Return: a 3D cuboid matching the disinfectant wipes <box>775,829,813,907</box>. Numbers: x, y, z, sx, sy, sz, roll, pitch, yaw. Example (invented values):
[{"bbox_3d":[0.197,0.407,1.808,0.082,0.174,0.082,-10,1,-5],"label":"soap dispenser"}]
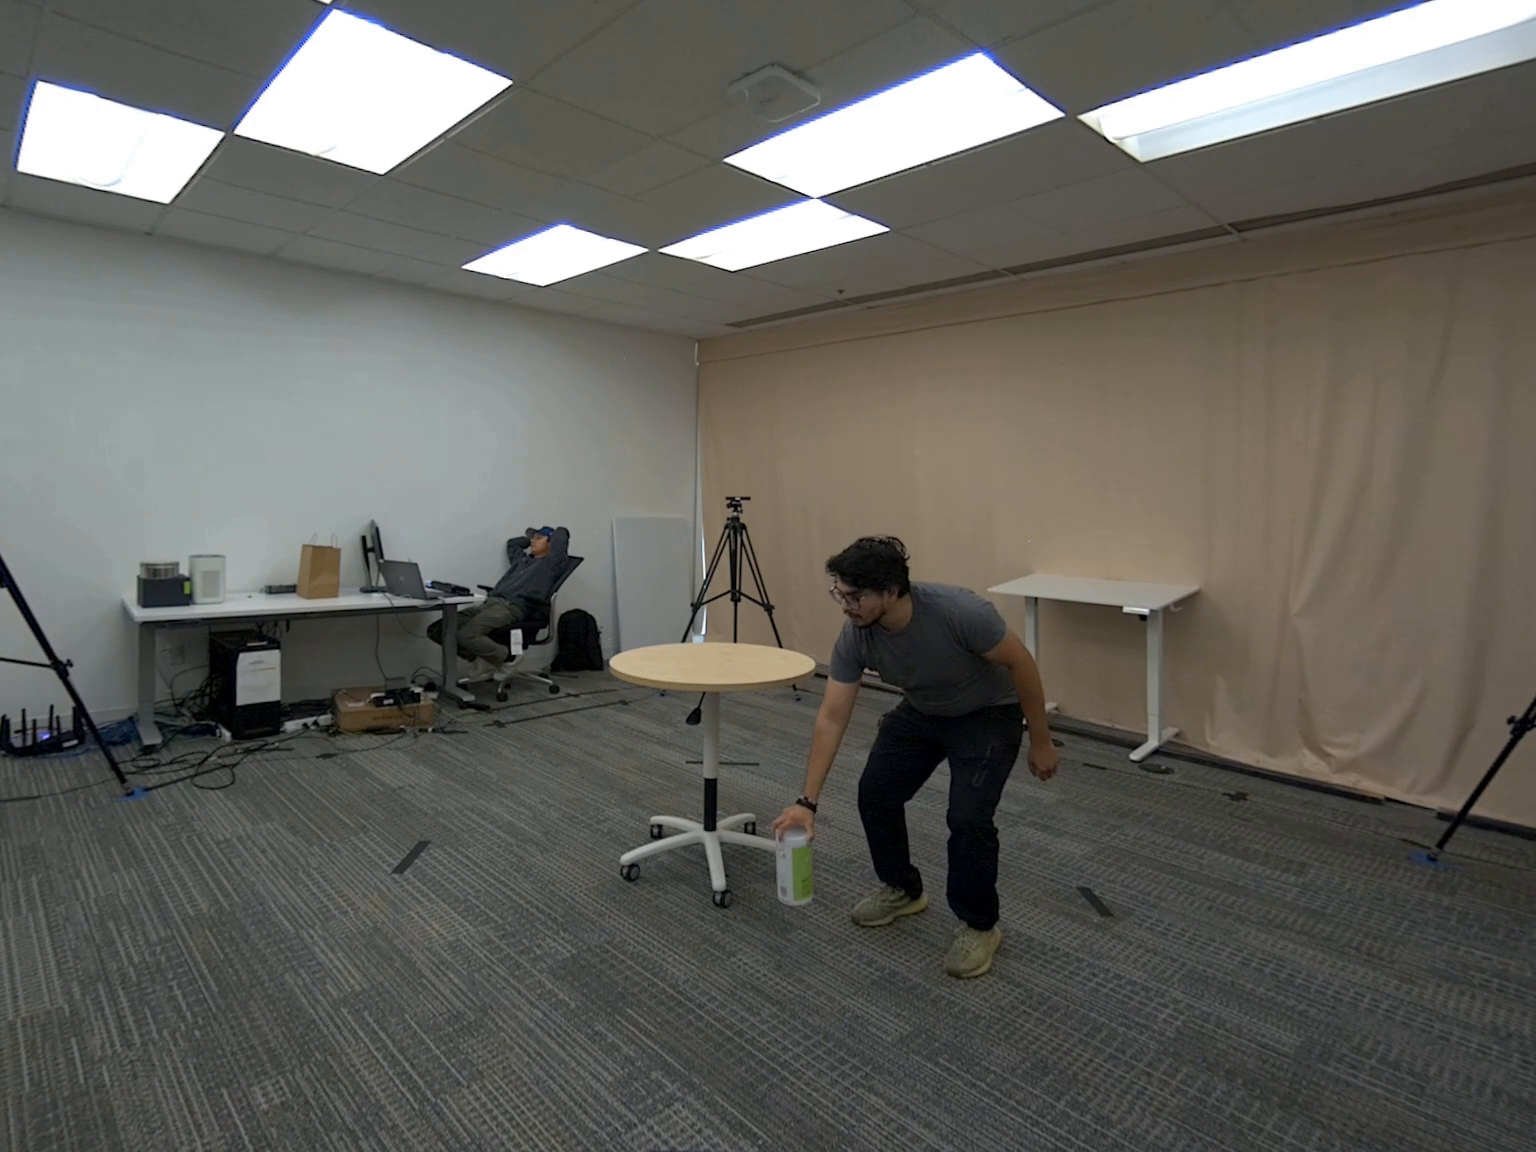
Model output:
[{"bbox_3d":[0.081,0.868,2.533,0.118,0.216,0.118,-3,5,-1],"label":"disinfectant wipes"}]
